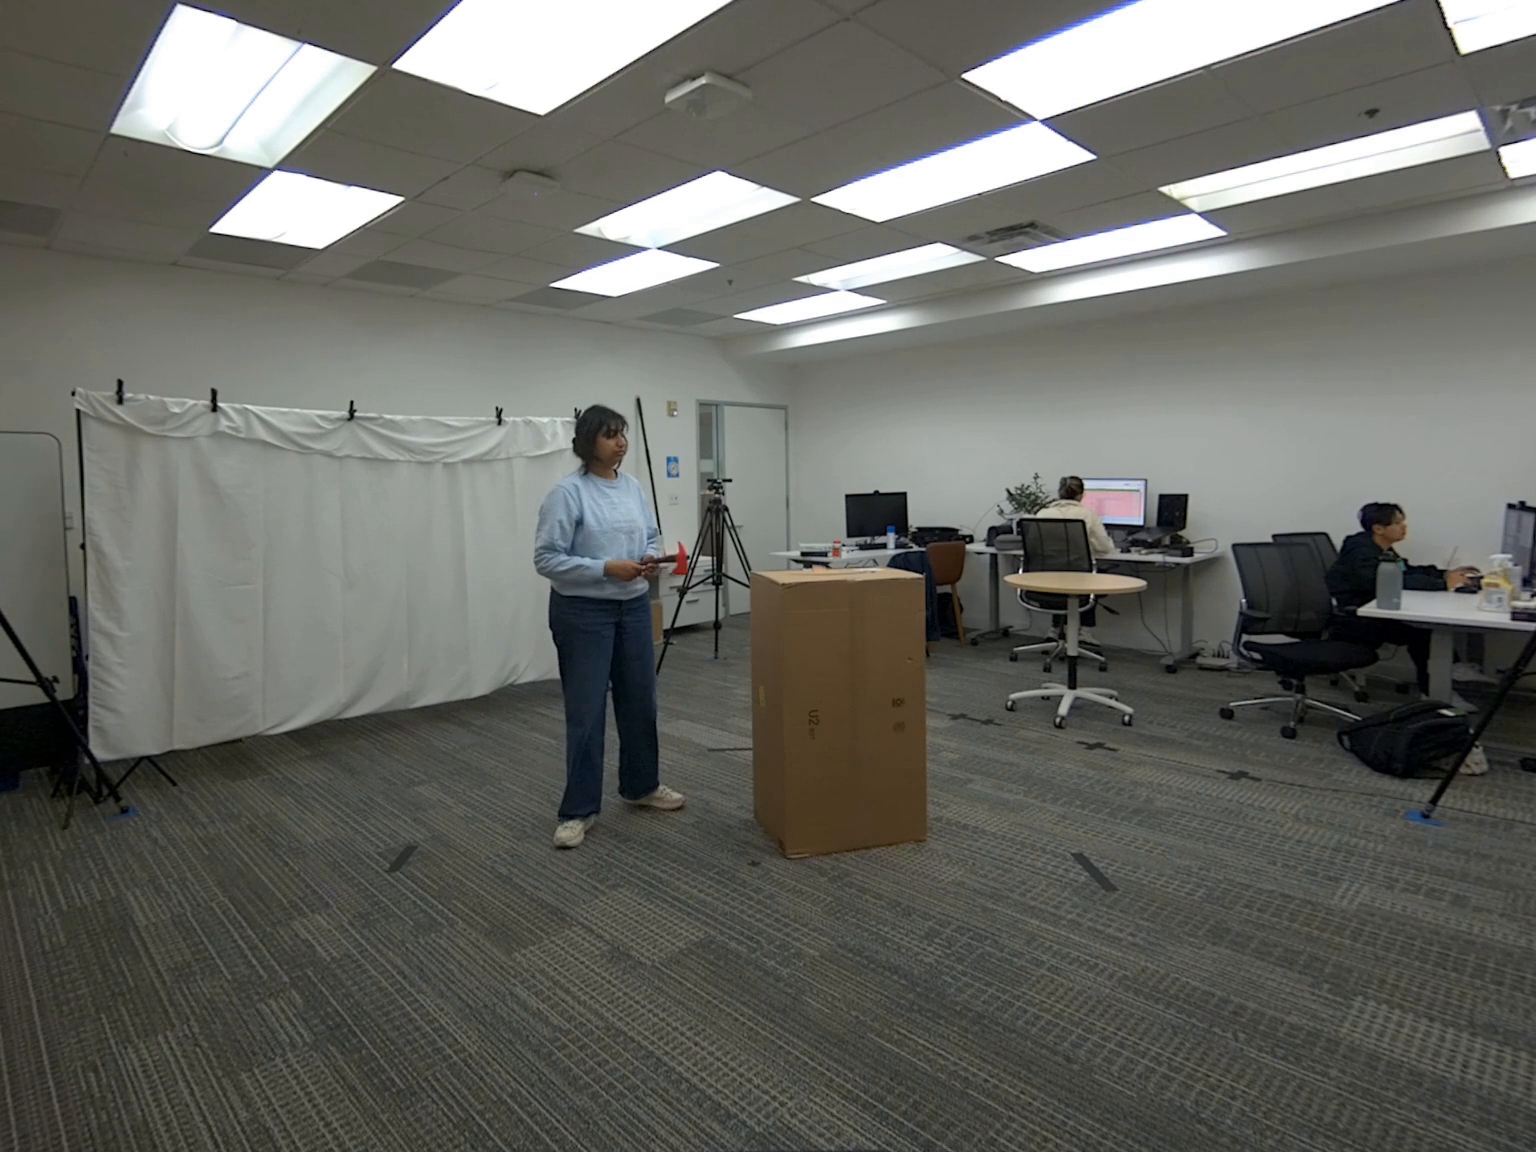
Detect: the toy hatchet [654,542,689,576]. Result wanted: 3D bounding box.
[{"bbox_3d":[-0.440,-0.019,3.275,0.271,0.128,0.030,-23,17,8],"label":"toy hatchet"}]
